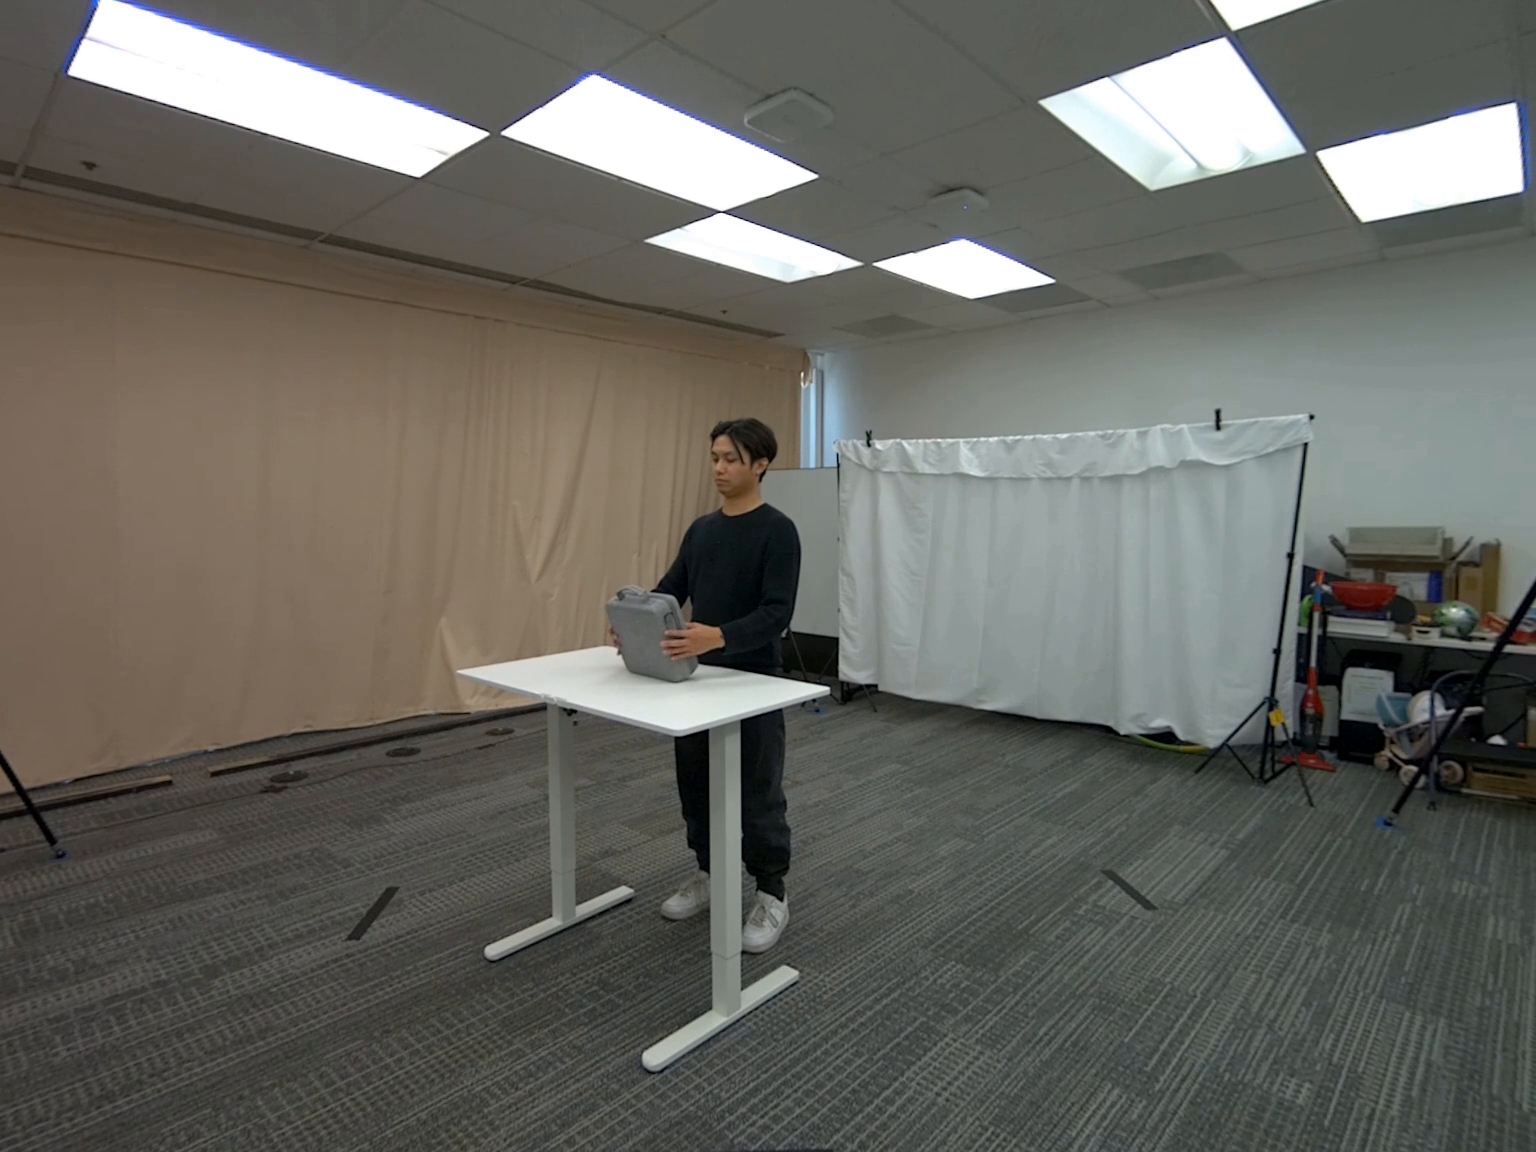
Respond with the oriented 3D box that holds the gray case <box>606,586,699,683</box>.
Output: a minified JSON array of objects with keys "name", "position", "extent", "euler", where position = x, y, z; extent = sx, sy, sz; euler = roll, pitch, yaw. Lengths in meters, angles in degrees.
[{"name":"gray case","position":[-0.343,0.172,2.500],"extent":[0.265,0.257,0.102],"euler":[4,24,44]}]
